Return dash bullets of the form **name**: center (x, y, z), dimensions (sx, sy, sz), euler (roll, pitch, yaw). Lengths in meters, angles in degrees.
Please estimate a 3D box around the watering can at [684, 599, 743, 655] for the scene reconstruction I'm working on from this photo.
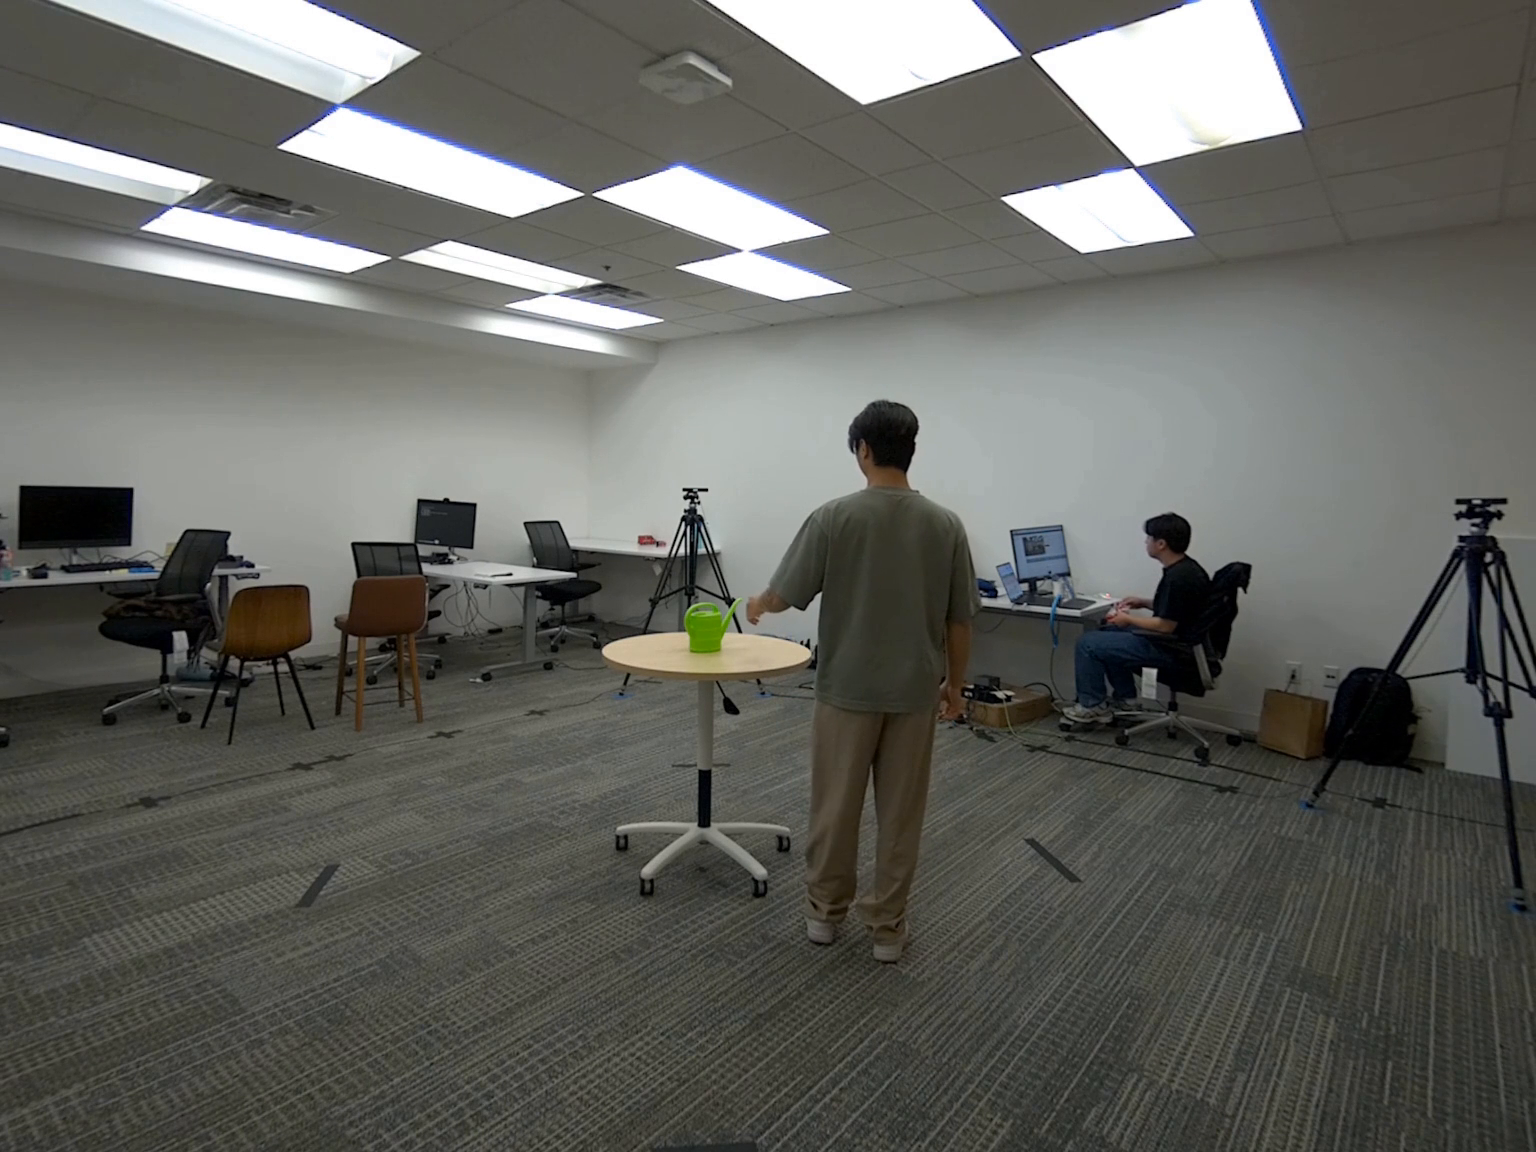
- **watering can**: center (-0.200, 0.181, 3.142), dimensions (0.271, 0.176, 0.101), euler (-3, 6, -28)
